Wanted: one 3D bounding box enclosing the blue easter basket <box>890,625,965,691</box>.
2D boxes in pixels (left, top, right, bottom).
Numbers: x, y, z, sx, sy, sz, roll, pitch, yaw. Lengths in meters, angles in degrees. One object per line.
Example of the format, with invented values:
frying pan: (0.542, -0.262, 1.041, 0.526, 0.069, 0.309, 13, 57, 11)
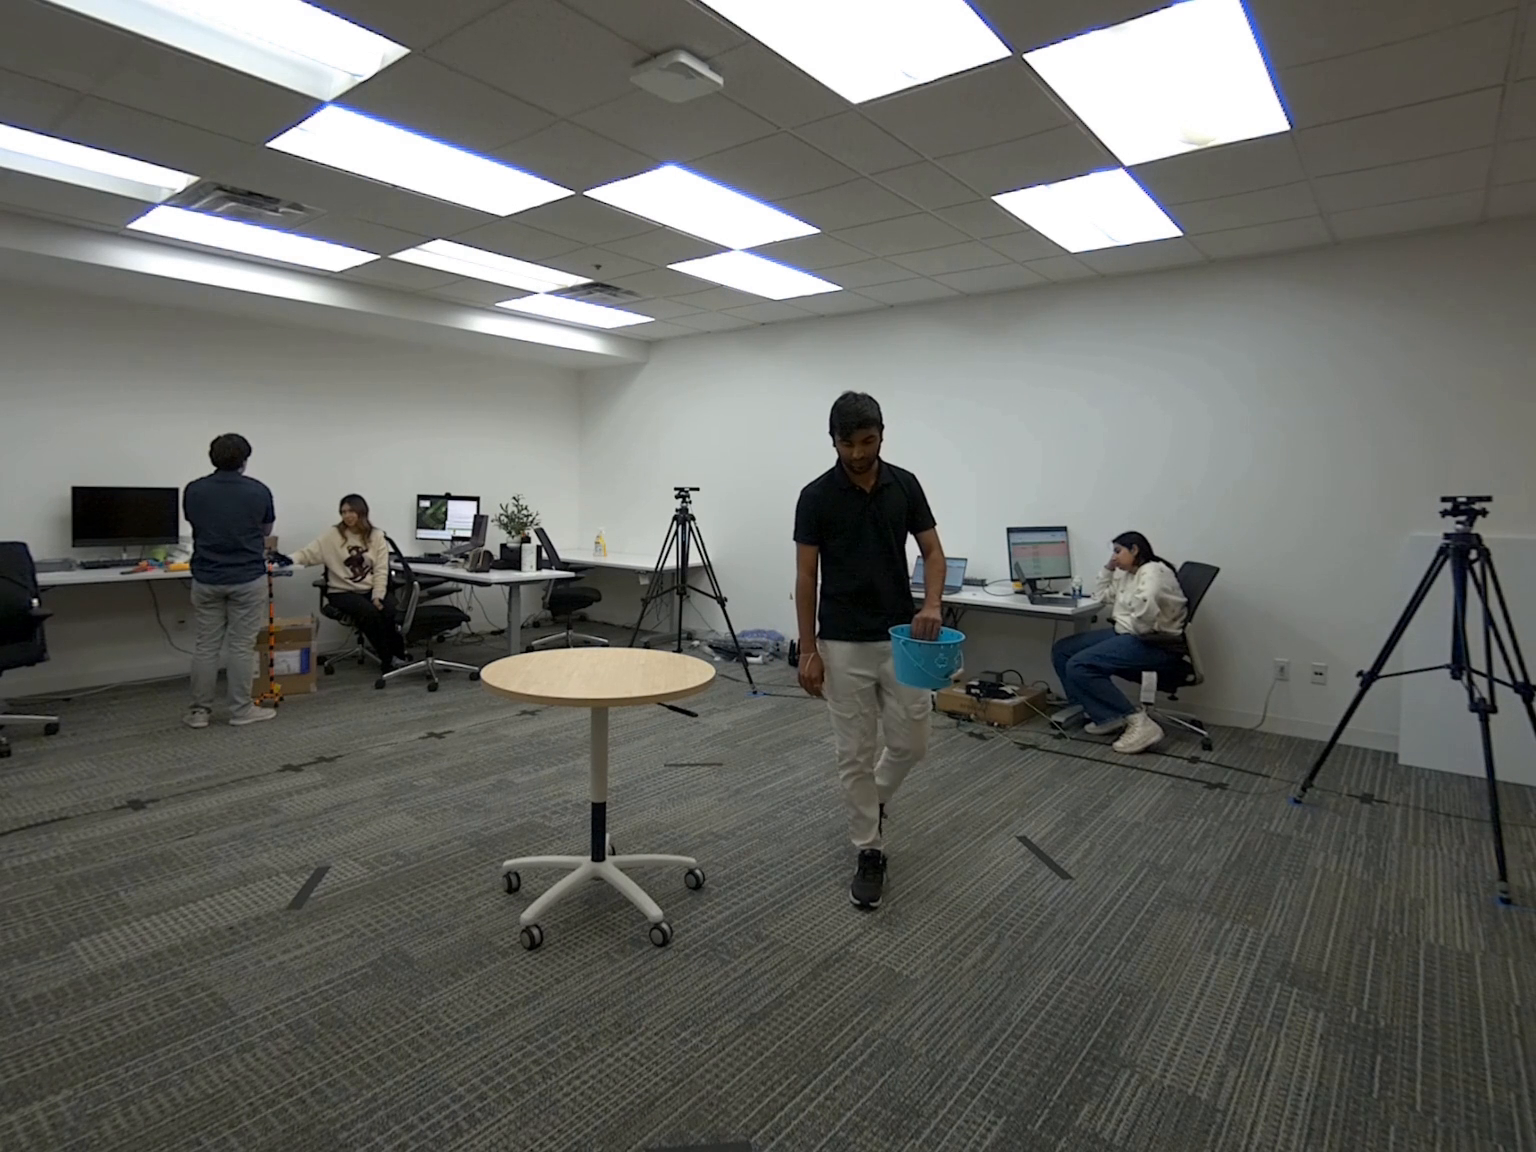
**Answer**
blue easter basket: (0.497, 0.249, 2.680, 0.243, 0.155, 0.246, 2, 9, -2)
